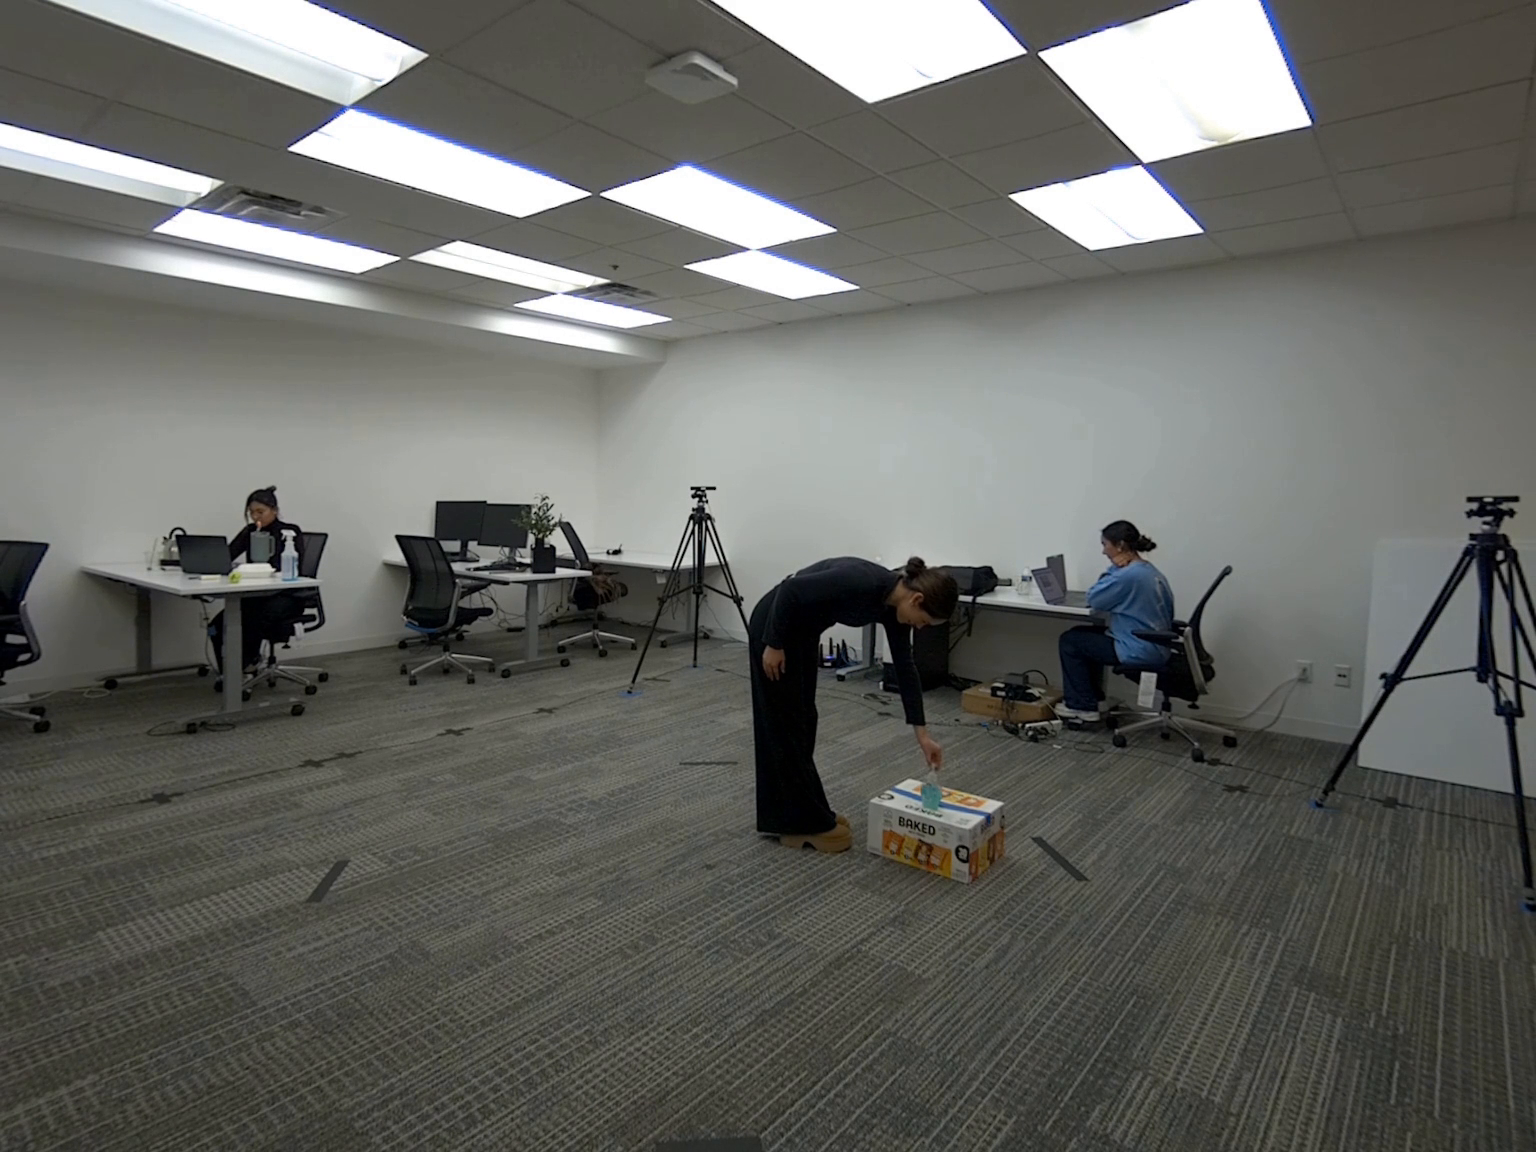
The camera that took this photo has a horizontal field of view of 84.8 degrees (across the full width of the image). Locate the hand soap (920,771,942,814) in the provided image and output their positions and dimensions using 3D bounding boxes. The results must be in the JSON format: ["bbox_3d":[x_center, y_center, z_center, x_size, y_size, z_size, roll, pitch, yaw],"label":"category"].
[{"bbox_3d":[0.608,0.785,3.230,0.087,0.167,0.042,8,5,43],"label":"hand soap"}]
